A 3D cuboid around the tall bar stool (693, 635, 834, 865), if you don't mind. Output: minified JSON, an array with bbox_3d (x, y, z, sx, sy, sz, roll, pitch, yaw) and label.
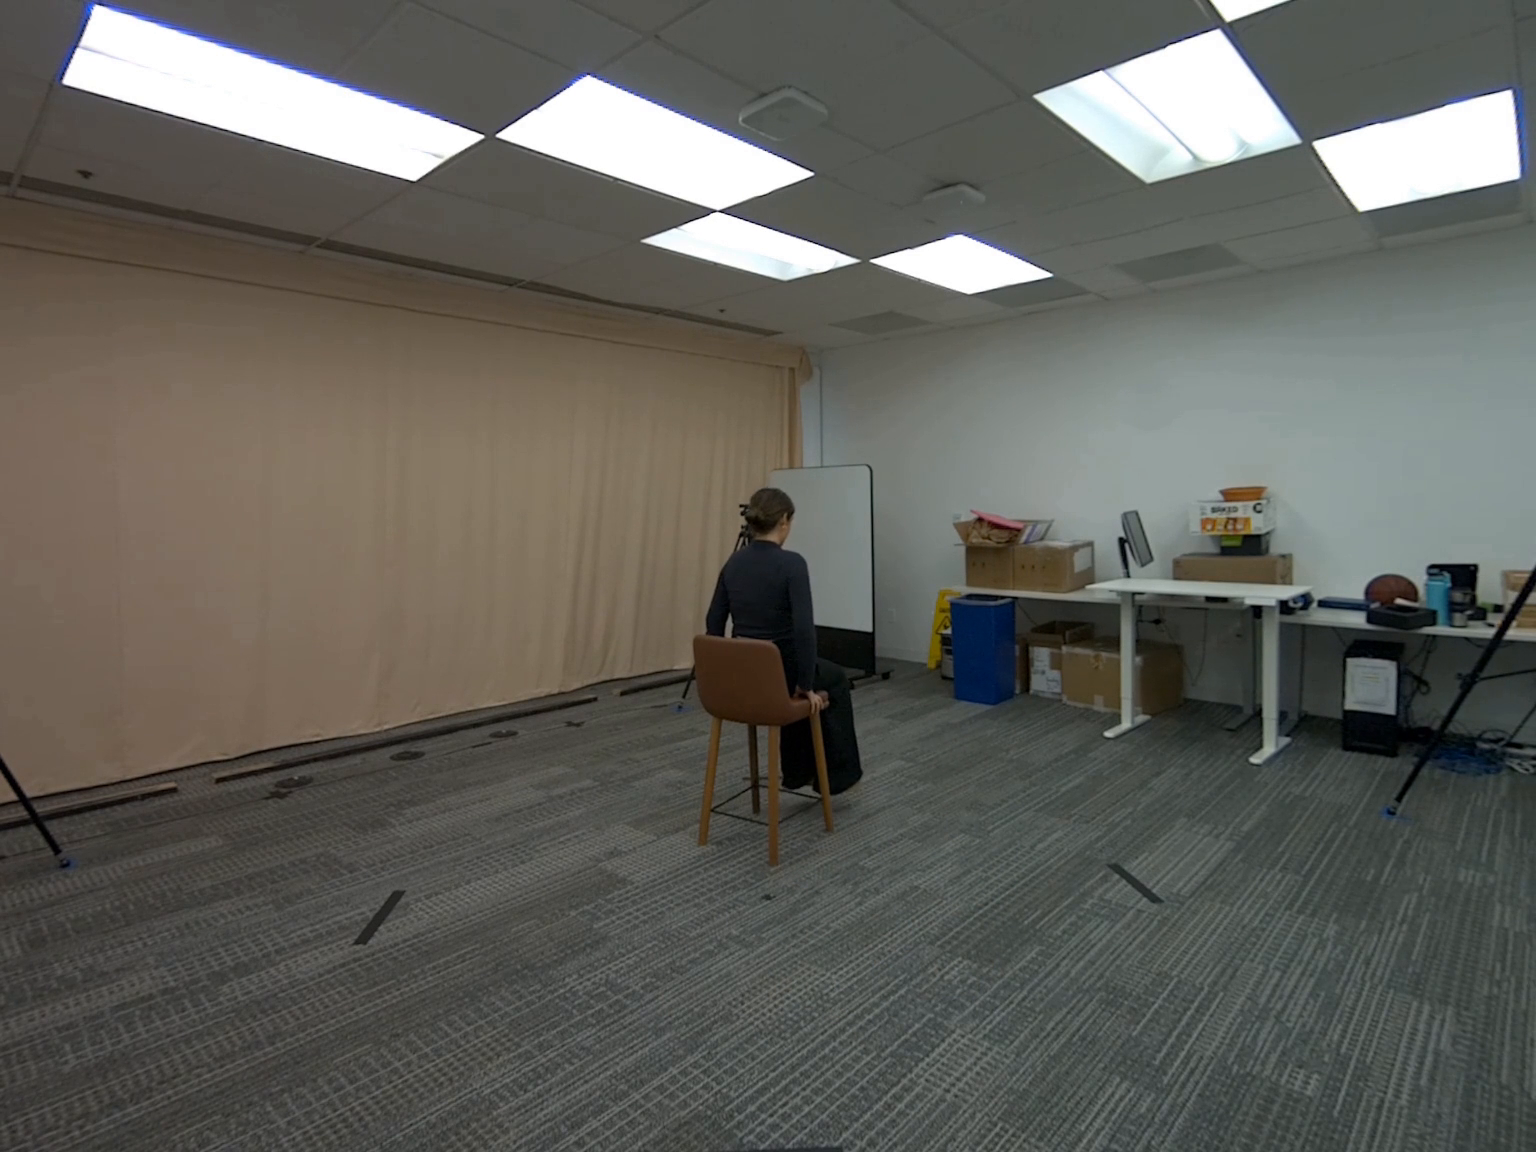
[{"bbox_3d":[-0.023,0.661,3.497,0.471,0.887,0.454,1,5,35],"label":"tall bar stool"}]
